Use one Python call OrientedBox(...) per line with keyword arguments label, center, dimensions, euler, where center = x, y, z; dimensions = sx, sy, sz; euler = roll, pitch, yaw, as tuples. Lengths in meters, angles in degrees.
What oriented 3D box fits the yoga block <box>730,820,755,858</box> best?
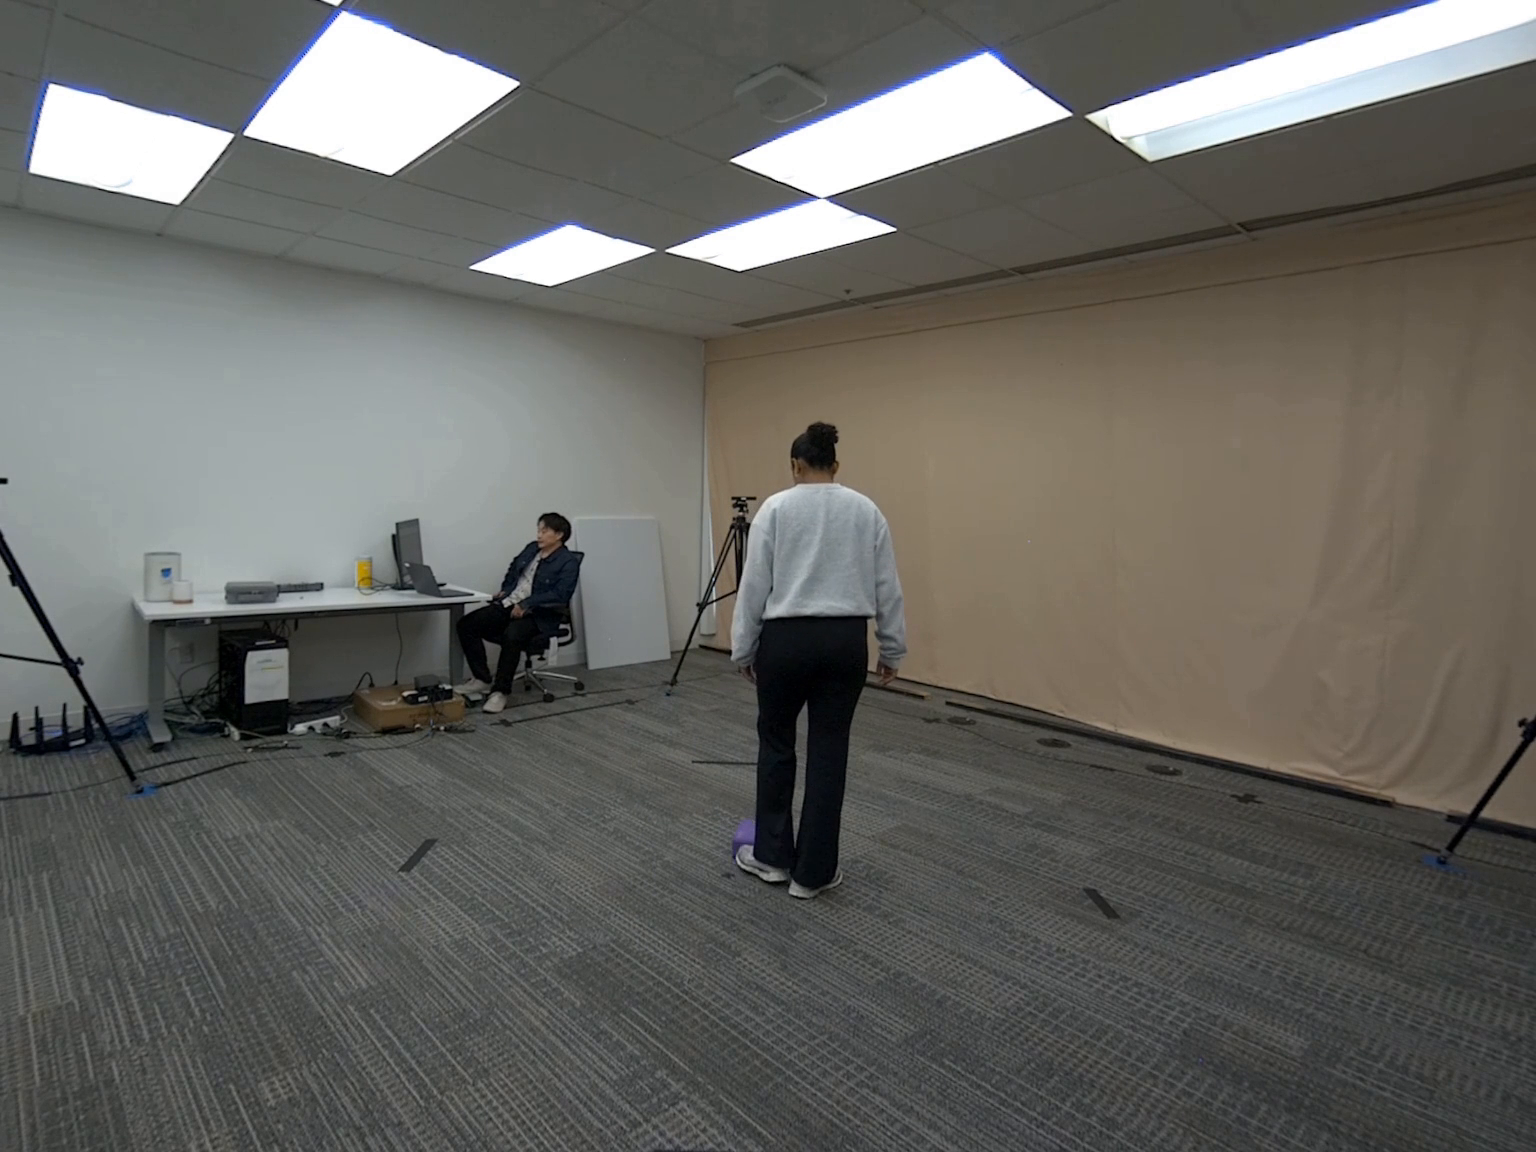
OrientedBox(label="yoga block", center=(-0.056, 1.044, 3.363), dimensions=(0.150, 0.076, 0.228), euler=(1, 5, 8))
